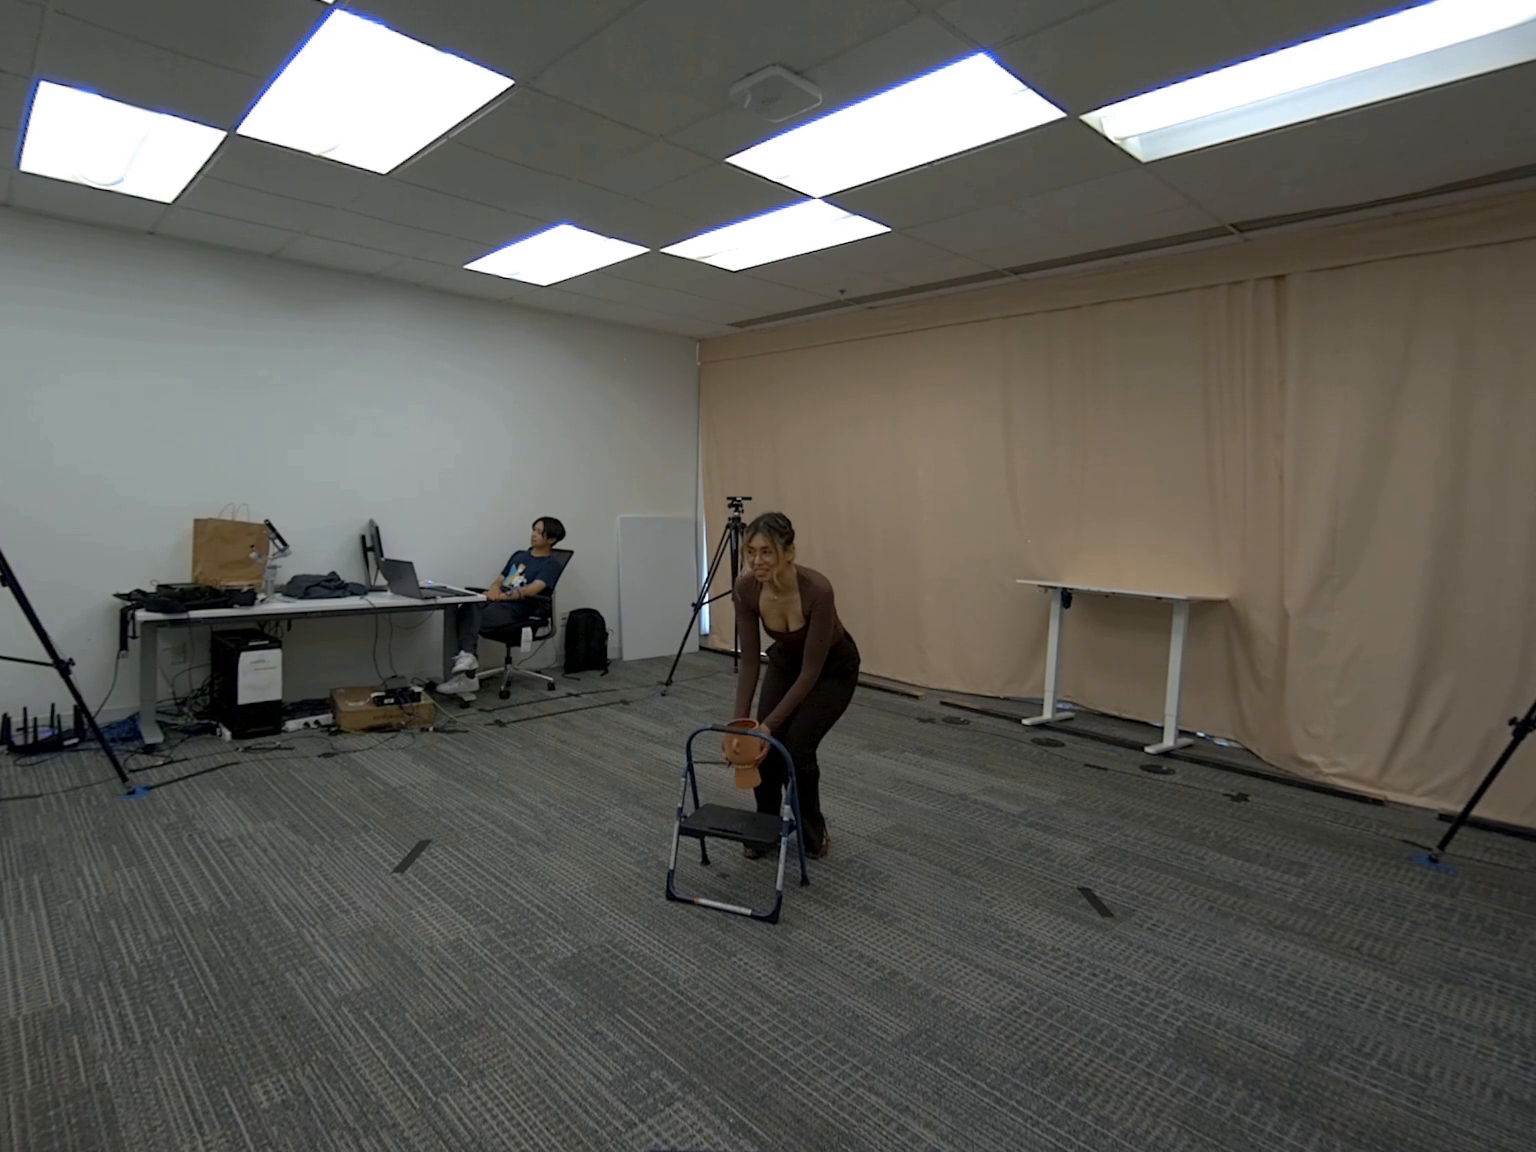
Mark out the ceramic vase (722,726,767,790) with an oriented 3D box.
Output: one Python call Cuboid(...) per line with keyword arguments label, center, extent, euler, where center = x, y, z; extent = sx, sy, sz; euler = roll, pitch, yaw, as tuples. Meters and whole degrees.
Cuboid(label="ceramic vase", center=(-0.112, 0.640, 3.034), extent=(0.156, 0.218, 0.138), euler=(-13, 11, -36))
